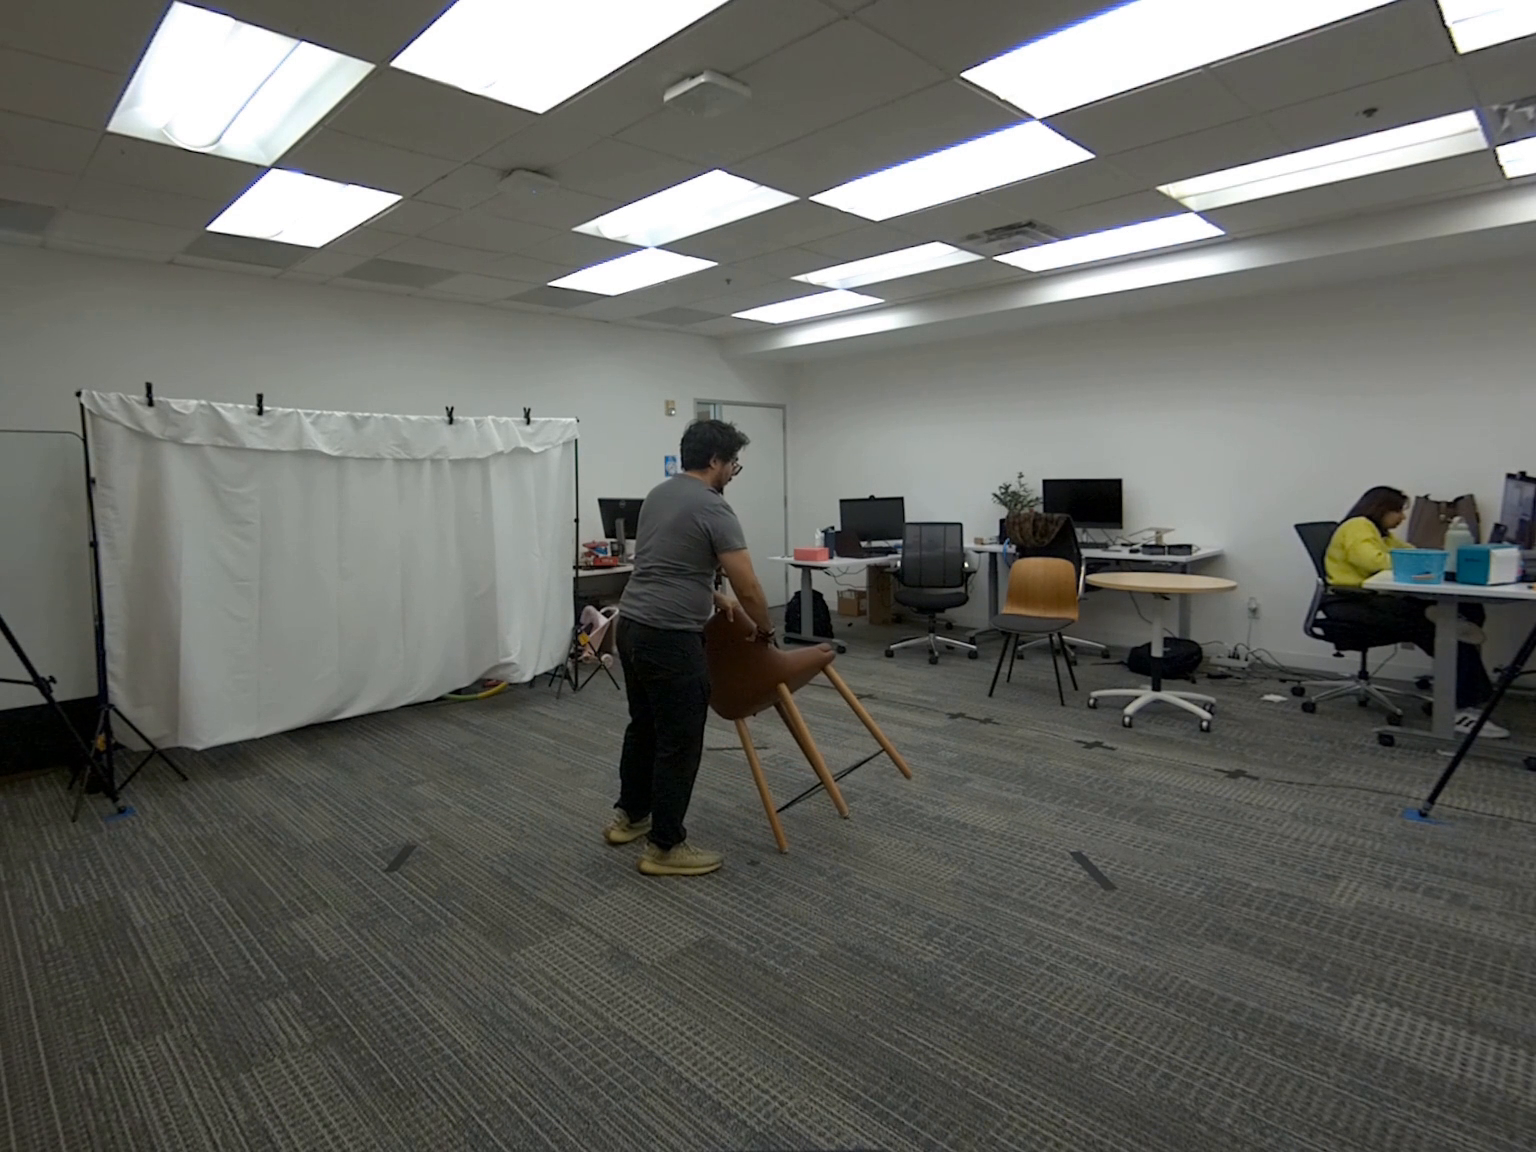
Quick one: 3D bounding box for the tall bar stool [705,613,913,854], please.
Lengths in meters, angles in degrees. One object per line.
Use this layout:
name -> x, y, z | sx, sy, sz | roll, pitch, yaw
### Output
tall bar stool -> 0.089, 0.549, 3.388 | 0.457, 0.910, 0.457 | -11, -26, -48
